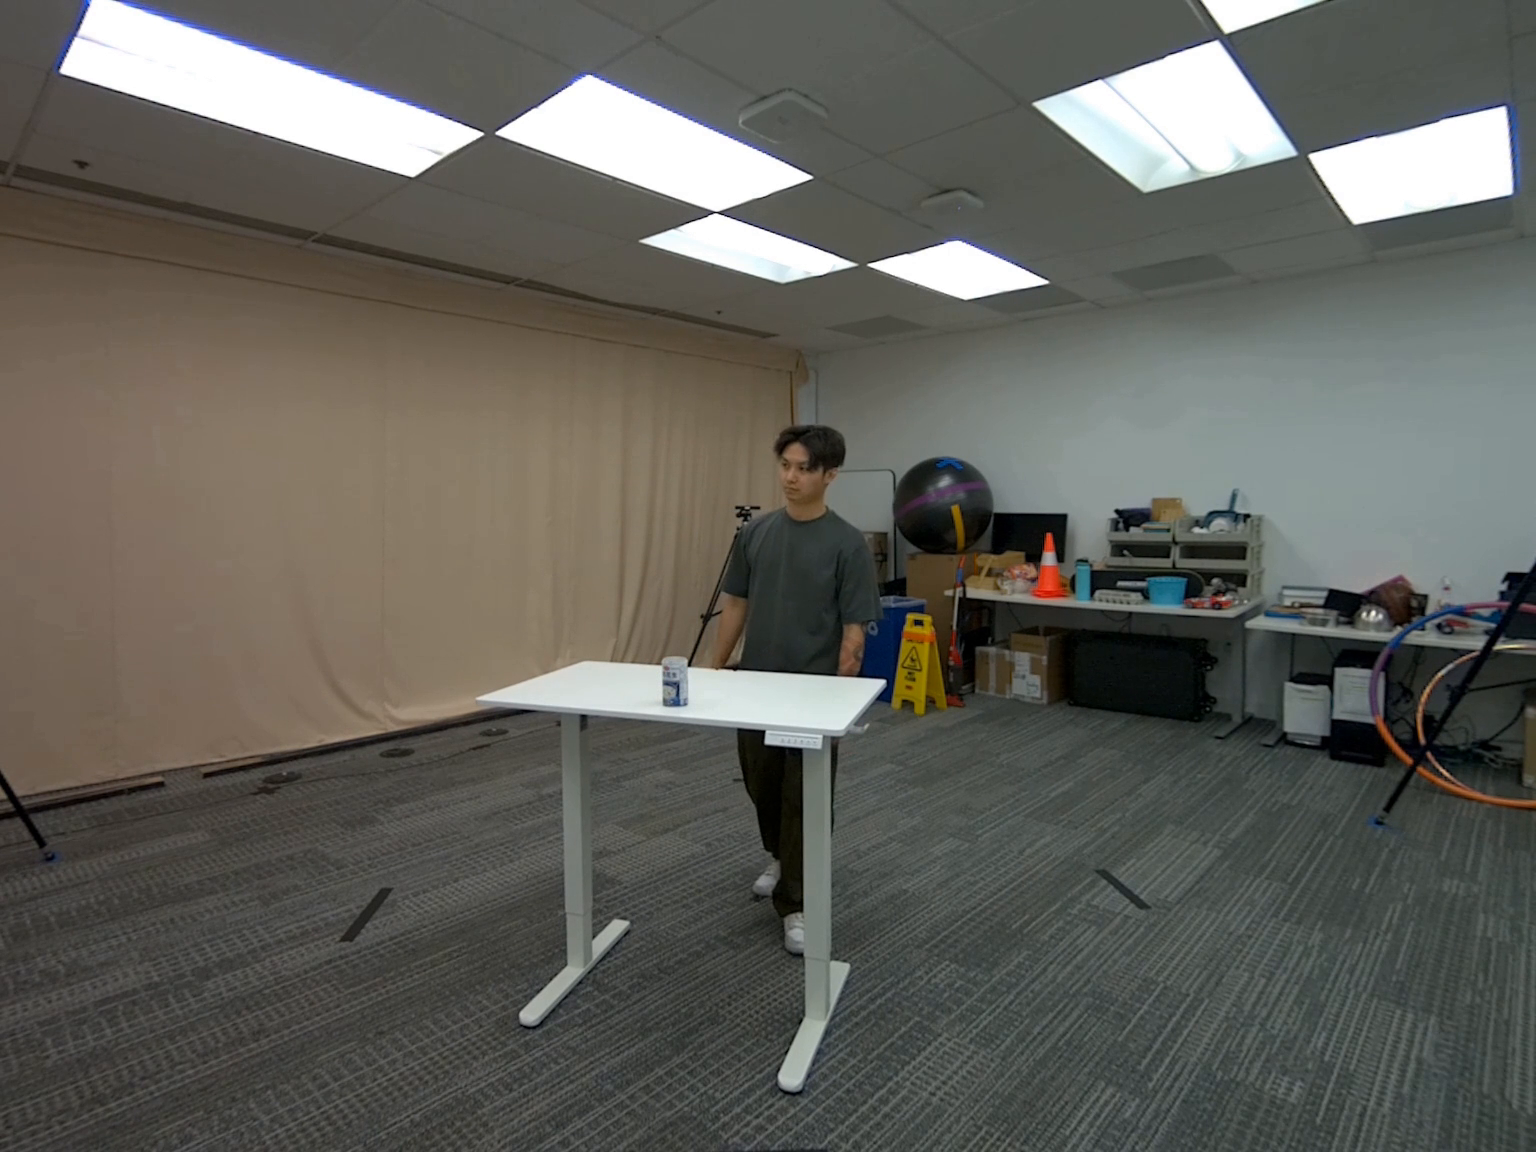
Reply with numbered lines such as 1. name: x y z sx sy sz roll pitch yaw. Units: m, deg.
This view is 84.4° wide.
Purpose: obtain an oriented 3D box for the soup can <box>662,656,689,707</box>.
1. soup can: -0.234 0.273 2.164 0.067 0.121 0.067 1 6 -2
